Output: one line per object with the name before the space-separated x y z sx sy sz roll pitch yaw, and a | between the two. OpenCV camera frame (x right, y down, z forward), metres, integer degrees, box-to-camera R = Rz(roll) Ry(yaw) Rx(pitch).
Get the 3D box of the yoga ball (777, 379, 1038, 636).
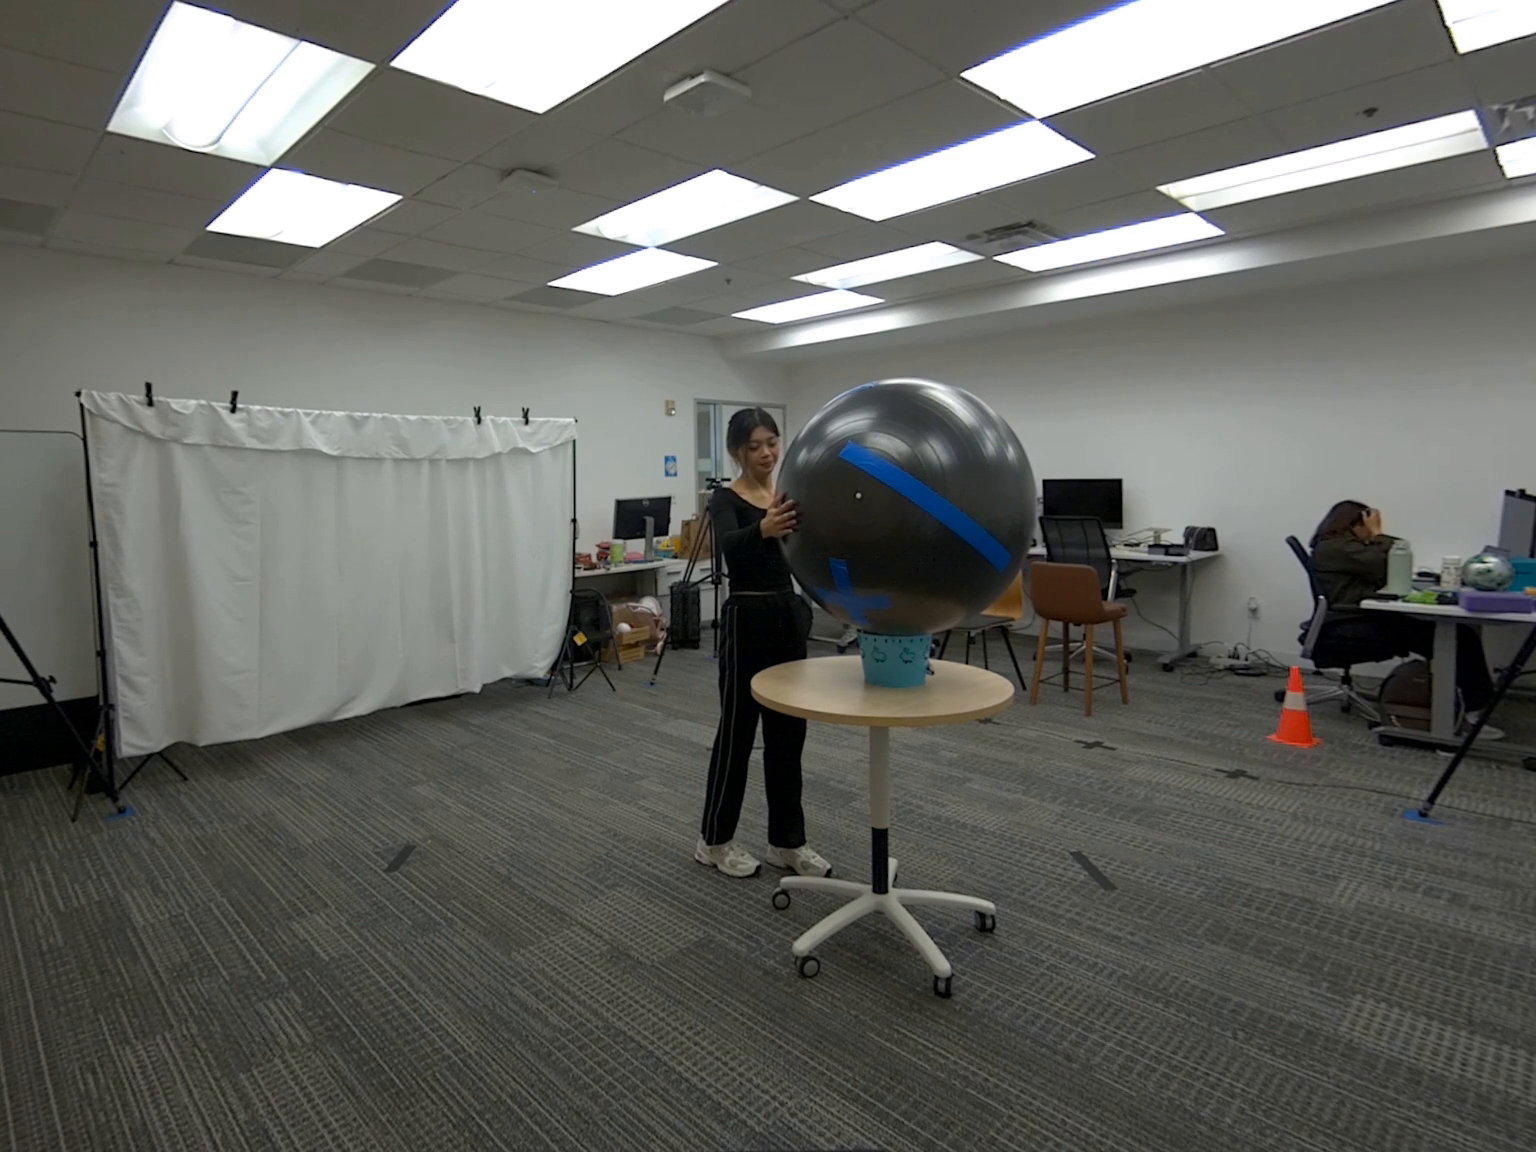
yoga ball | 0.400 -0.193 2.522 0.757 0.755 0.762 -1 5 -2
